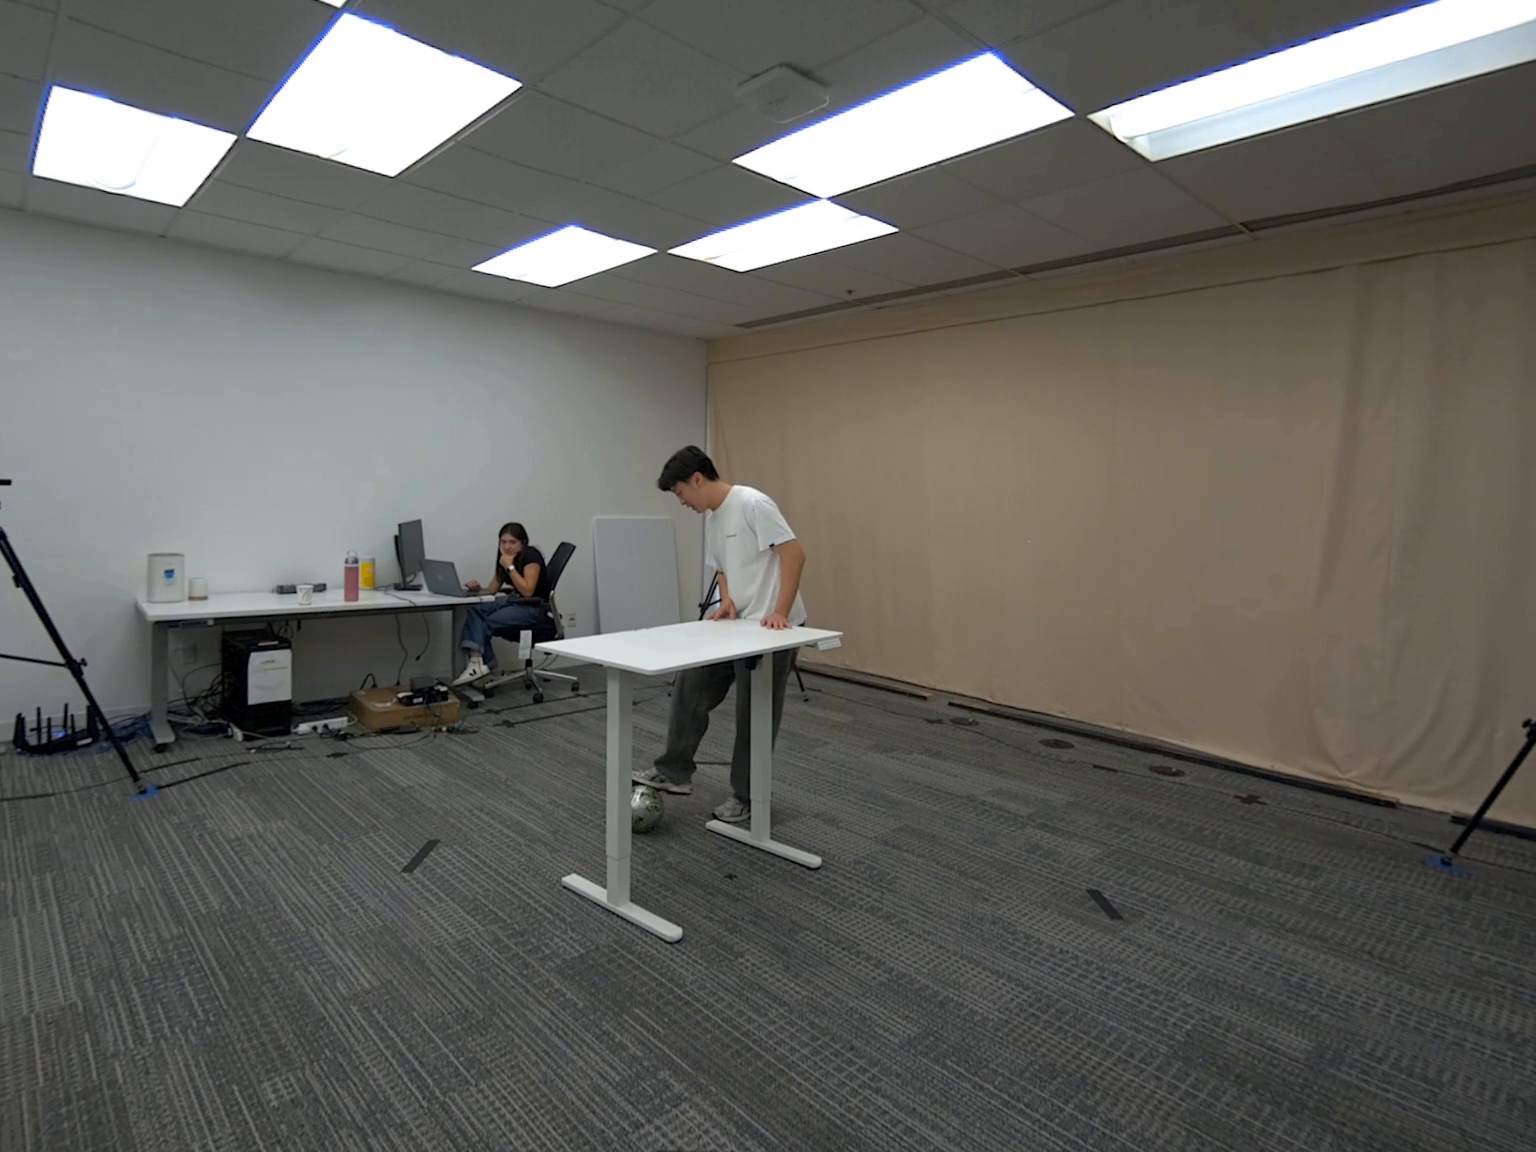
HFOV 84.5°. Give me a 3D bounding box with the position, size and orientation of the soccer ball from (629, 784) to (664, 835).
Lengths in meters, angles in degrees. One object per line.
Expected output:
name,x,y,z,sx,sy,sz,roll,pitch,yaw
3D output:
soccer ball,-0.525,0.967,3.498,0.187,0.187,0.188,1,4,-1
